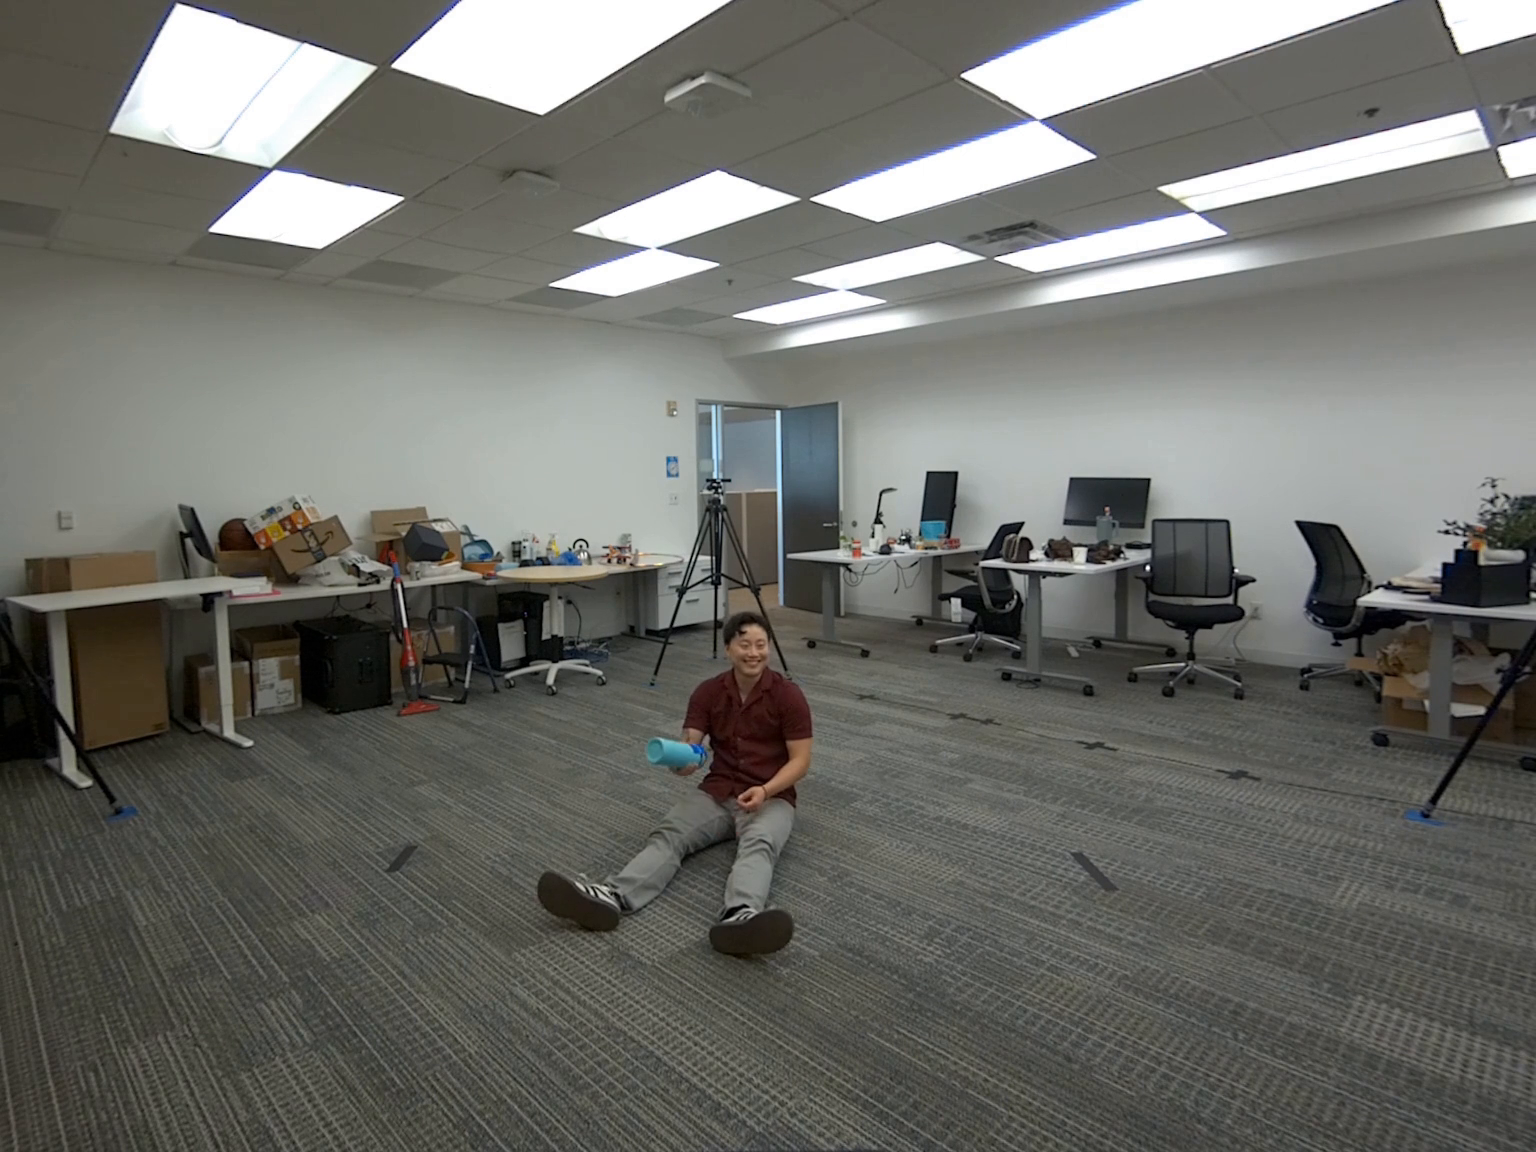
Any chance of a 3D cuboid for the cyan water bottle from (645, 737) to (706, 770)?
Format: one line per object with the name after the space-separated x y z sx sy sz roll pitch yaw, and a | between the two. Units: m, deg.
-0.324 0.640 3.069 0.095 0.093 0.273 3 -14 36 | cyan water bottle
